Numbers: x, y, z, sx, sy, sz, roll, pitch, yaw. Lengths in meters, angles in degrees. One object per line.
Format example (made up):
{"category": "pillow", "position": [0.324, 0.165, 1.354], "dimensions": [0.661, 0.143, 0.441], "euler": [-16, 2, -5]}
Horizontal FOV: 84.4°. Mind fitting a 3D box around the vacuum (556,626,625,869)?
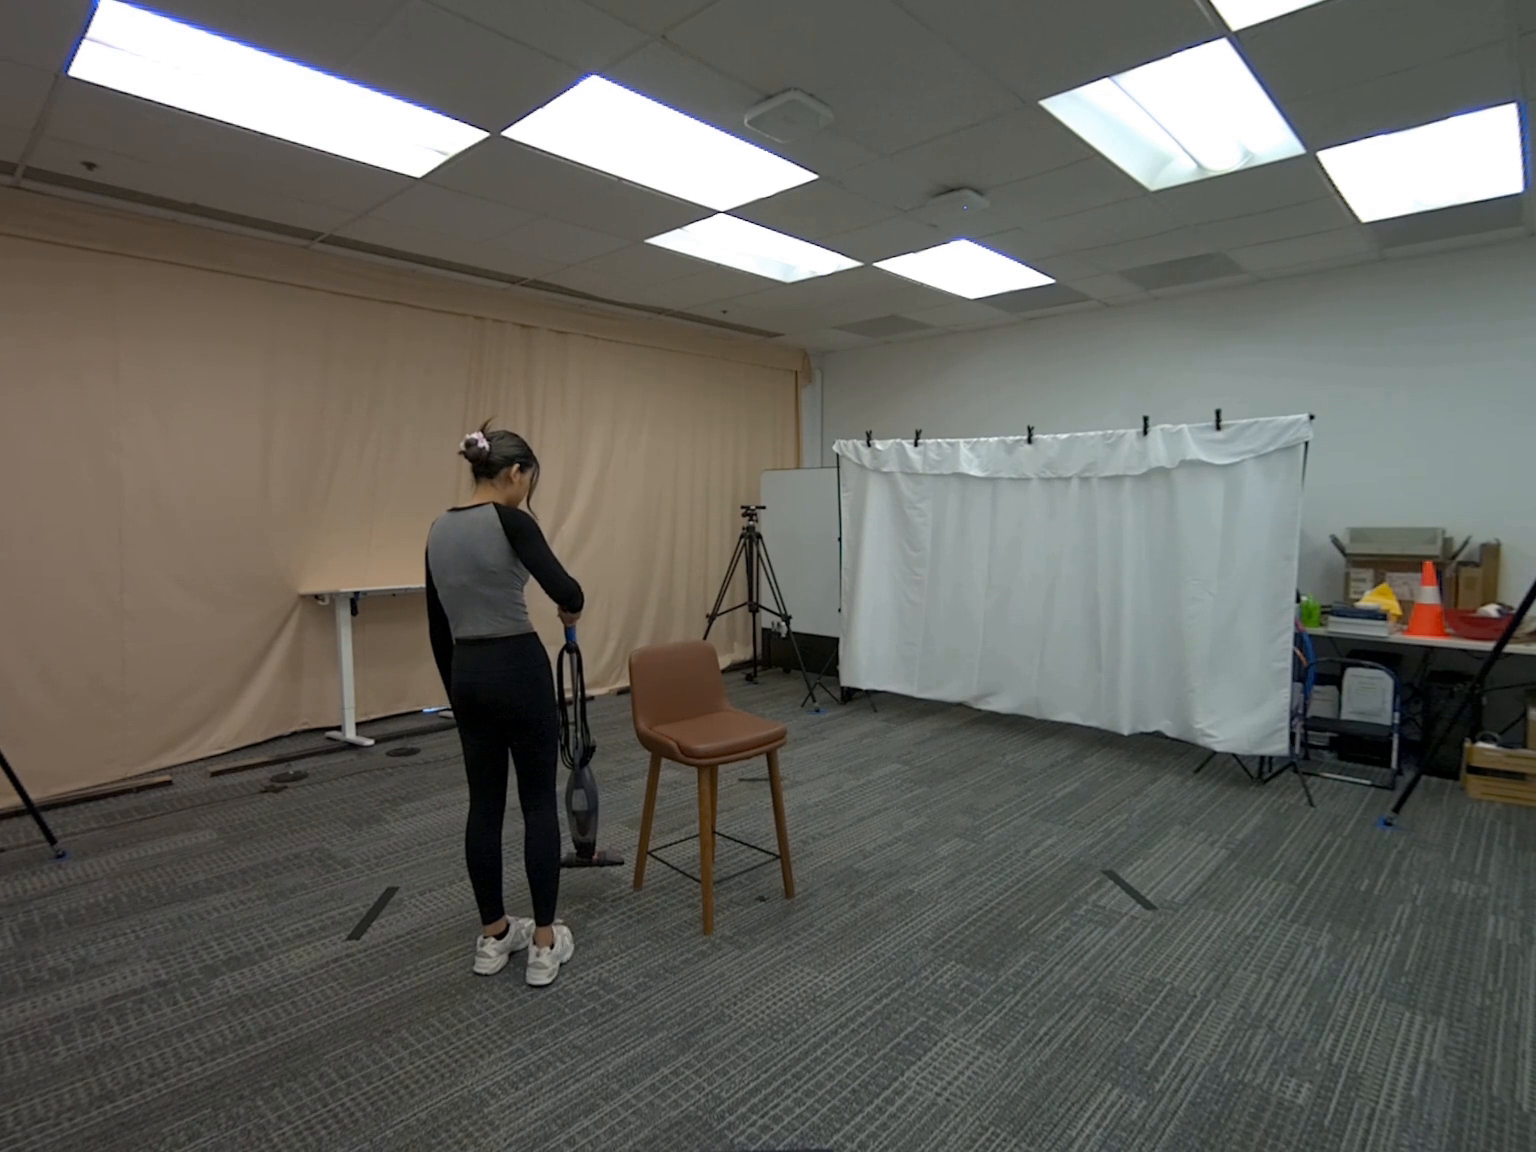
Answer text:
{"category": "vacuum", "position": [-0.629, 0.544, 2.778], "dimensions": [0.251, 1.035, 0.146], "euler": [-1, 24, -5]}
